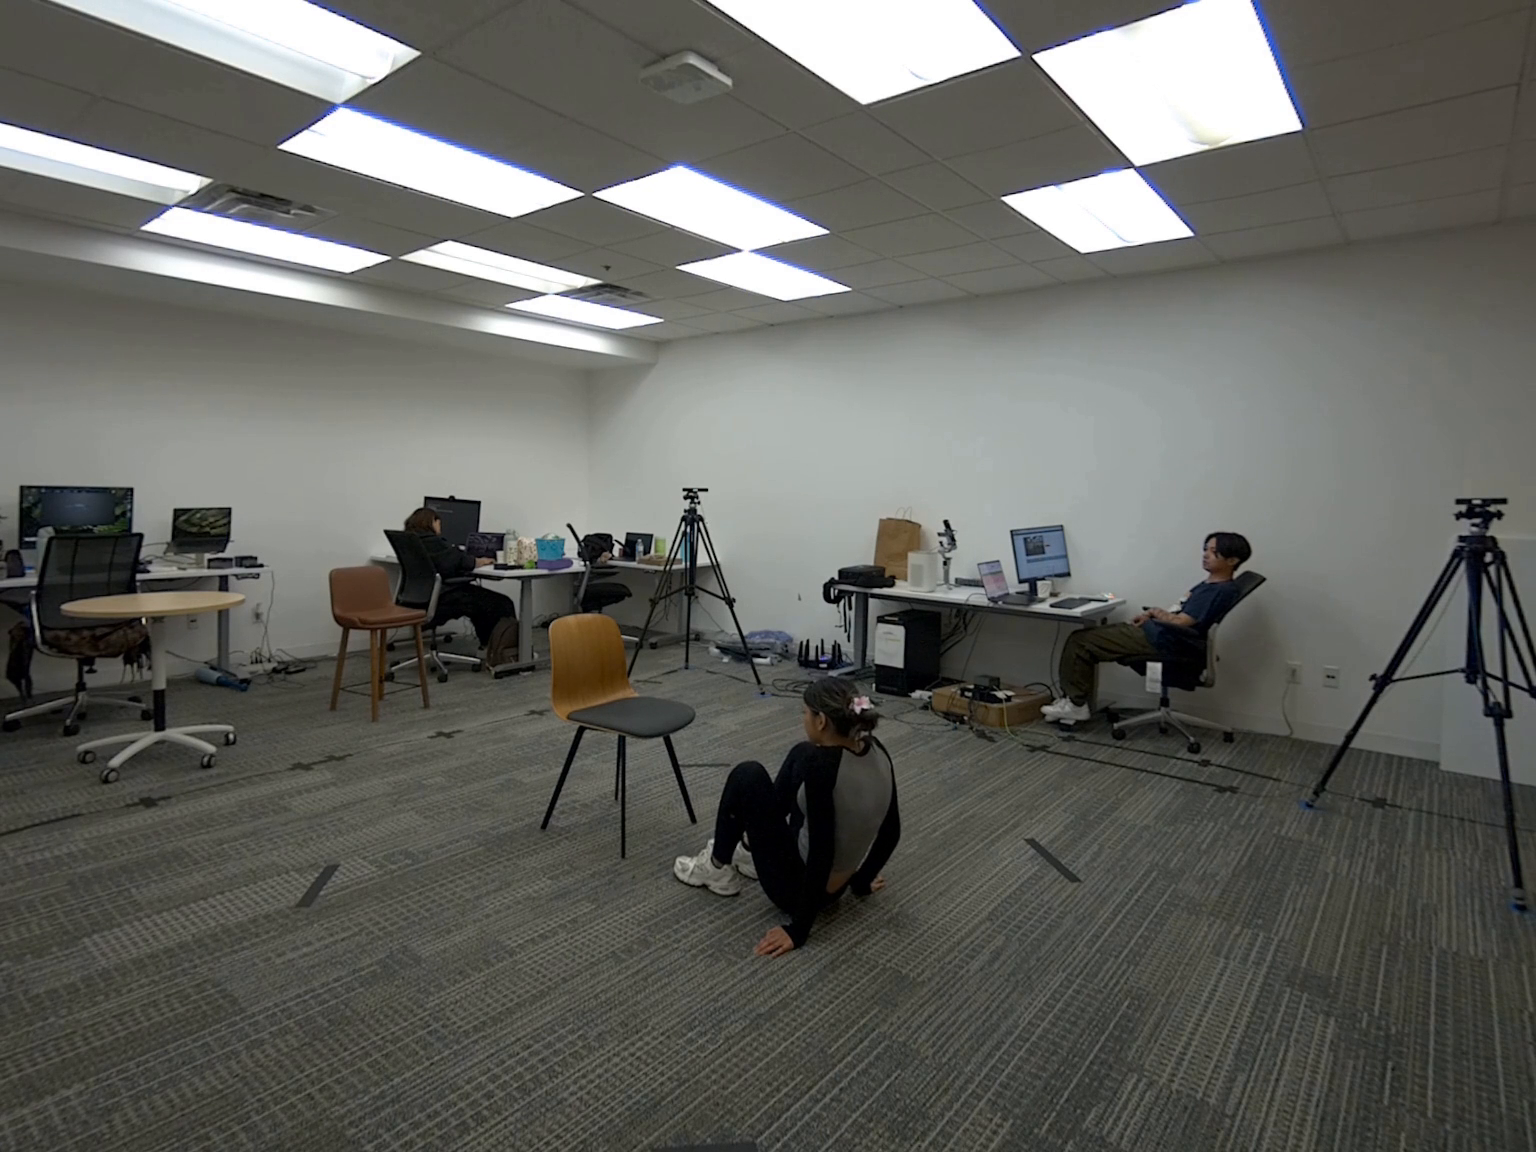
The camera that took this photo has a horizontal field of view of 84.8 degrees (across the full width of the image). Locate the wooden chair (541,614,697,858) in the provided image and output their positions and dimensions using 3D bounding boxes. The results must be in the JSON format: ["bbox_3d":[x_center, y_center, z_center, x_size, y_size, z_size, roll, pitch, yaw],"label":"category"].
[{"bbox_3d":[-0.605,0.599,3.463,0.538,0.877,0.464,-2,0,35],"label":"wooden chair"}]
